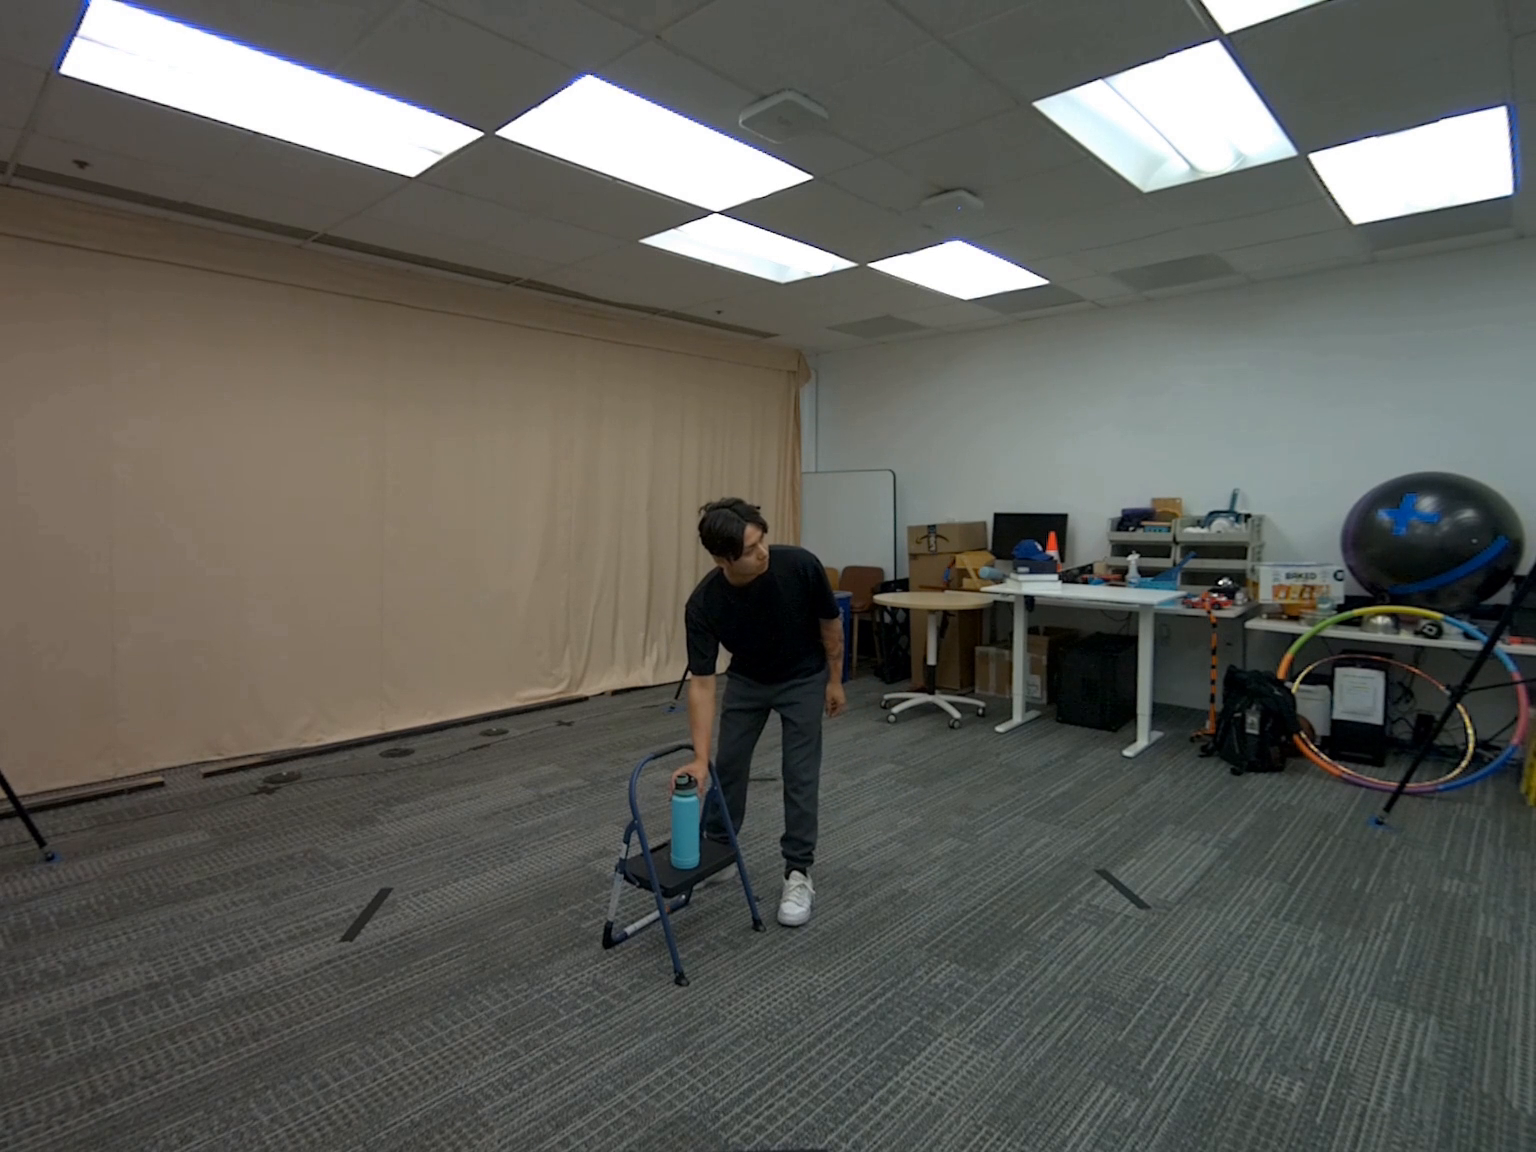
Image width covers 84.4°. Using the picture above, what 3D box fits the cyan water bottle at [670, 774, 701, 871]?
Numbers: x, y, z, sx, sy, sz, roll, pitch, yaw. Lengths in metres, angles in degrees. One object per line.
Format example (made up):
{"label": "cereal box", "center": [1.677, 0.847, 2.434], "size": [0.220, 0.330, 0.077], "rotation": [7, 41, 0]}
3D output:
{"label": "cyan water bottle", "center": [-0.256, 0.769, 2.658], "size": [0.092, 0.282, 0.093], "rotation": [0, 5, -2]}
